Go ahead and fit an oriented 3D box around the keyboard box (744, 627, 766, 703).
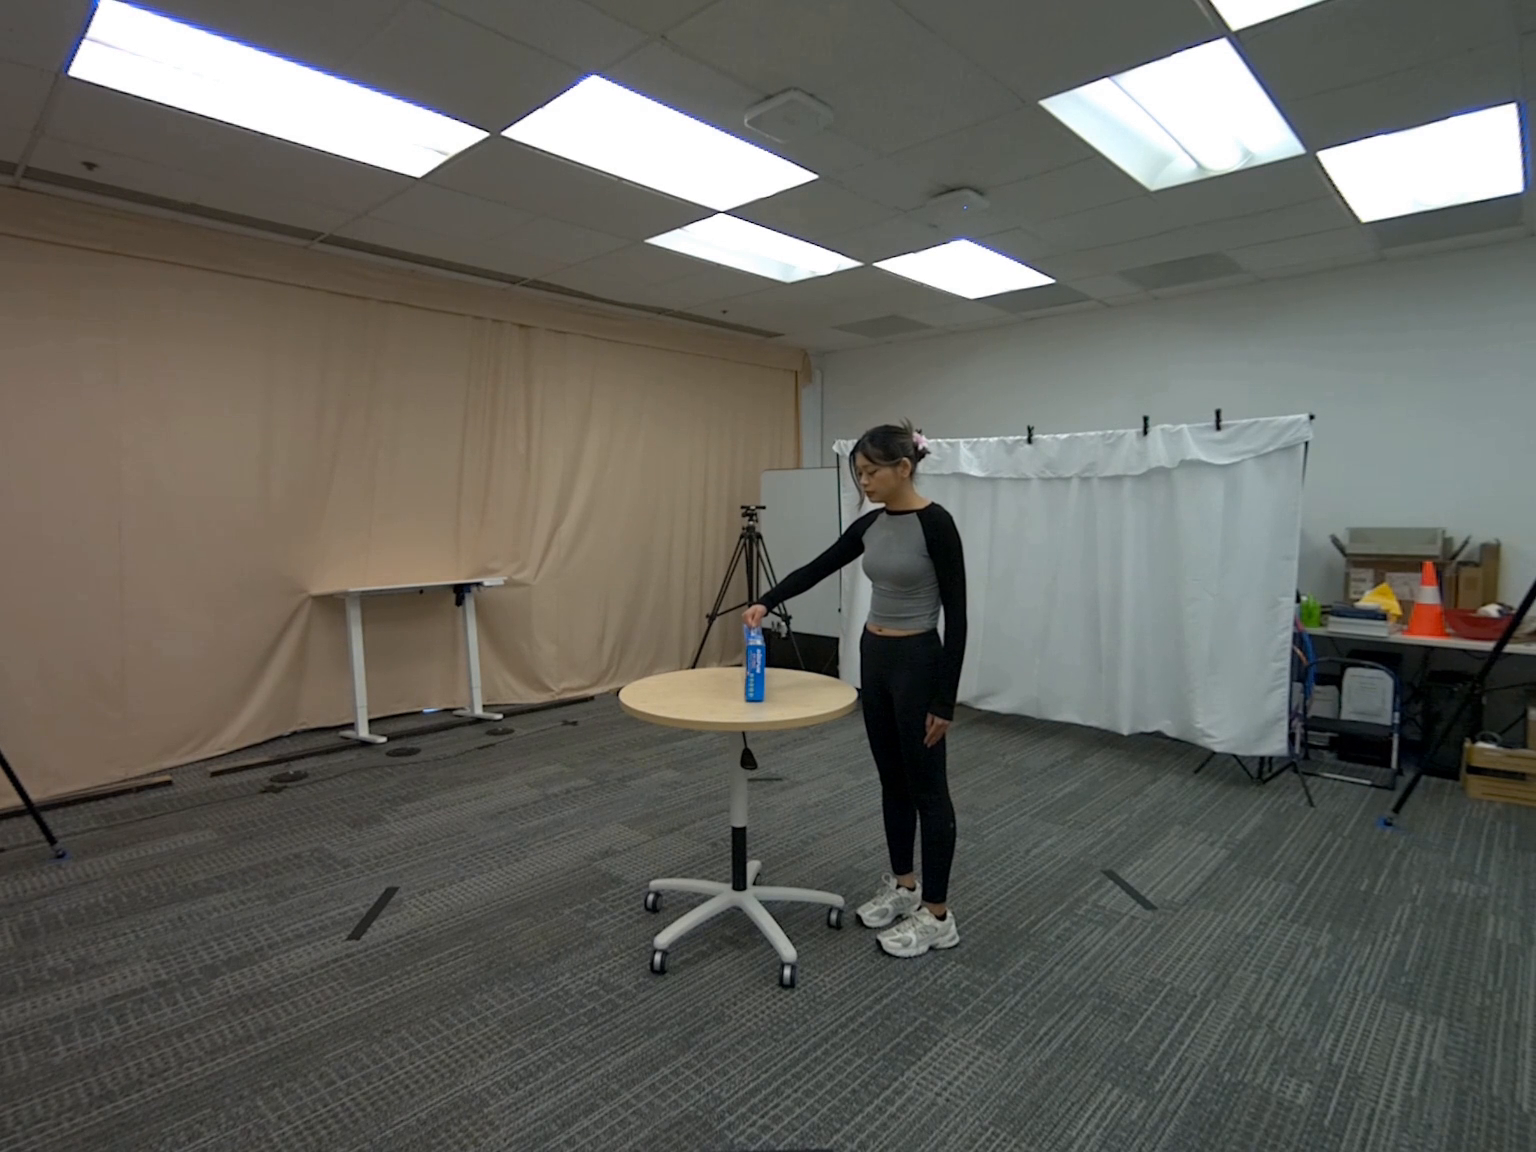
[{"bbox_3d":[-0.042,0.271,2.775,0.059,0.175,0.438,0,6,-3],"label":"keyboard box"}]
